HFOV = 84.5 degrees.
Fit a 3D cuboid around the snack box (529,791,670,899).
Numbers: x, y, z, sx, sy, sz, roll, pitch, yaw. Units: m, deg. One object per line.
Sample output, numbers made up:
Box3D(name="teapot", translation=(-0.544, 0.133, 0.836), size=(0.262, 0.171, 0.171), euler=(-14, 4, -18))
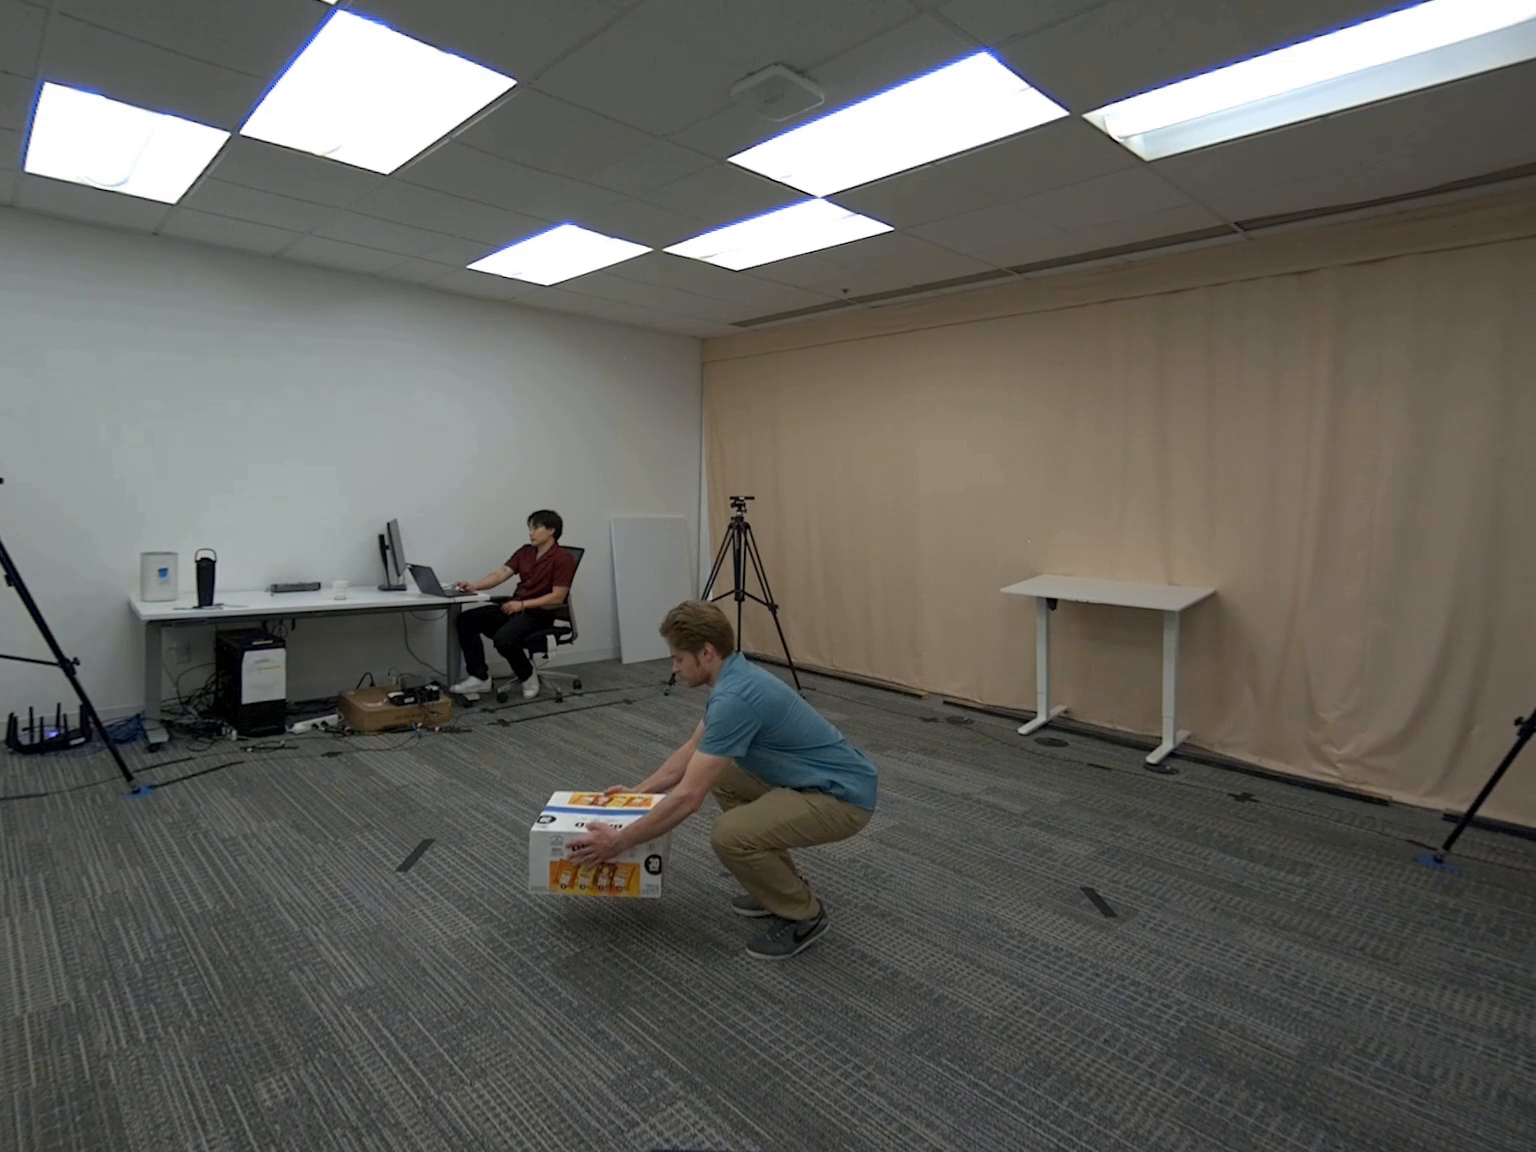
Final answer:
Box3D(name="snack box", translation=(-0.539, 0.849, 2.724), size=(0.405, 0.205, 0.341), euler=(2, 4, -1))
